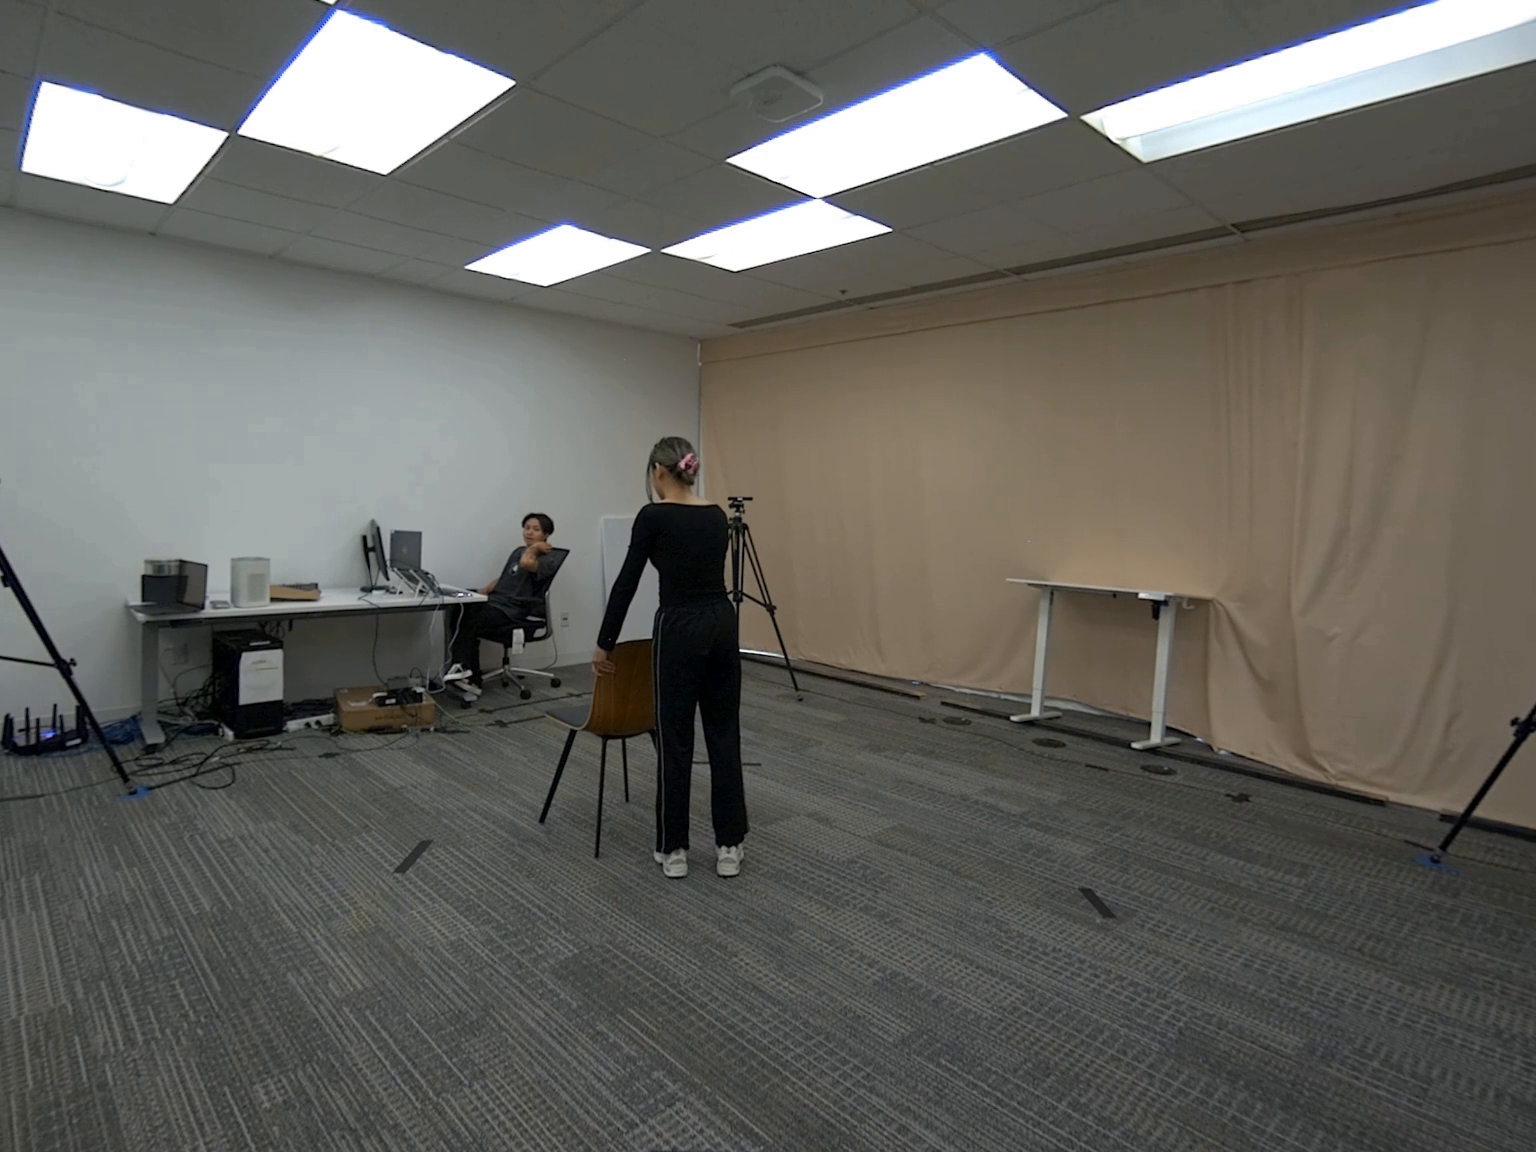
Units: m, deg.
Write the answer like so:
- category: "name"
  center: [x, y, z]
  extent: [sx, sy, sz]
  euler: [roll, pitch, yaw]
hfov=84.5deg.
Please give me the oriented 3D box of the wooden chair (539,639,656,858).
- category: "wooden chair"
  center: [-0.652, 0.632, 3.517]
  extent: [0.467, 0.873, 0.538]
  euler: [-2, 9, -42]
